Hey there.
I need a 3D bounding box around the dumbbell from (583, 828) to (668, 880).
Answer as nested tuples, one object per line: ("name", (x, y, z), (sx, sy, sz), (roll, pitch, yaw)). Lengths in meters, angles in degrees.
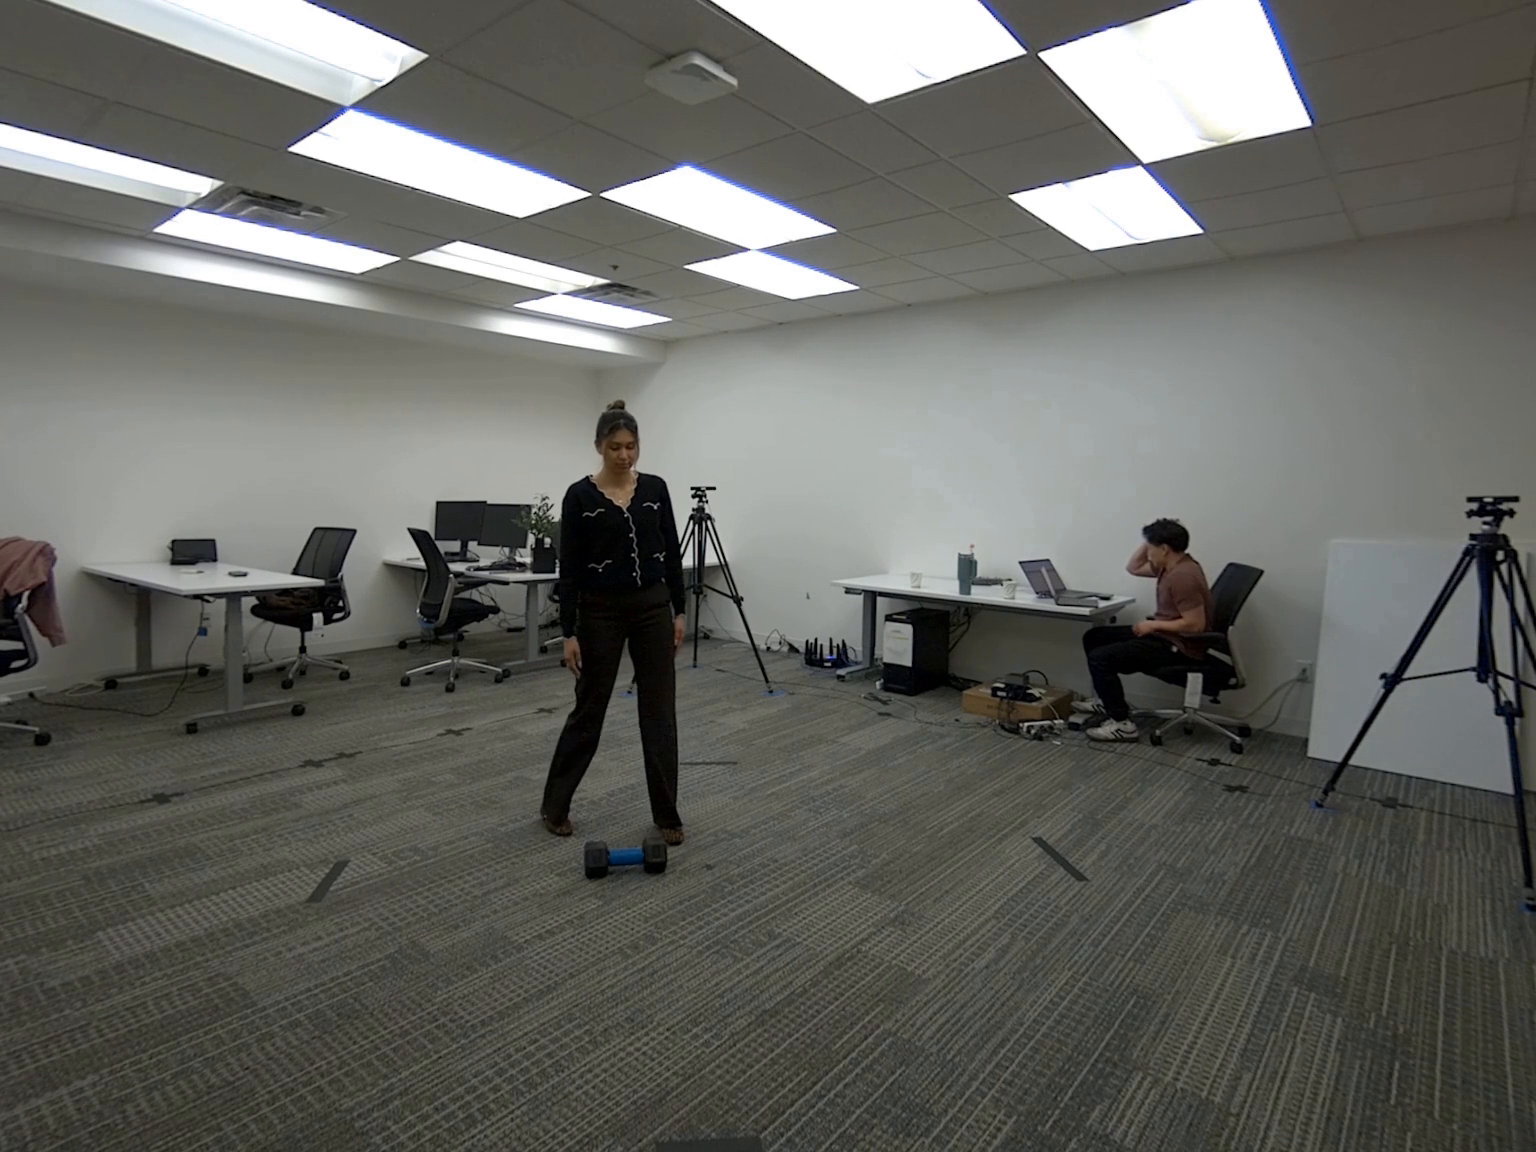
("dumbbell", (-0.524, 1.013, 3.061), (0.289, 0.120, 0.112), (1, 34, -13))
